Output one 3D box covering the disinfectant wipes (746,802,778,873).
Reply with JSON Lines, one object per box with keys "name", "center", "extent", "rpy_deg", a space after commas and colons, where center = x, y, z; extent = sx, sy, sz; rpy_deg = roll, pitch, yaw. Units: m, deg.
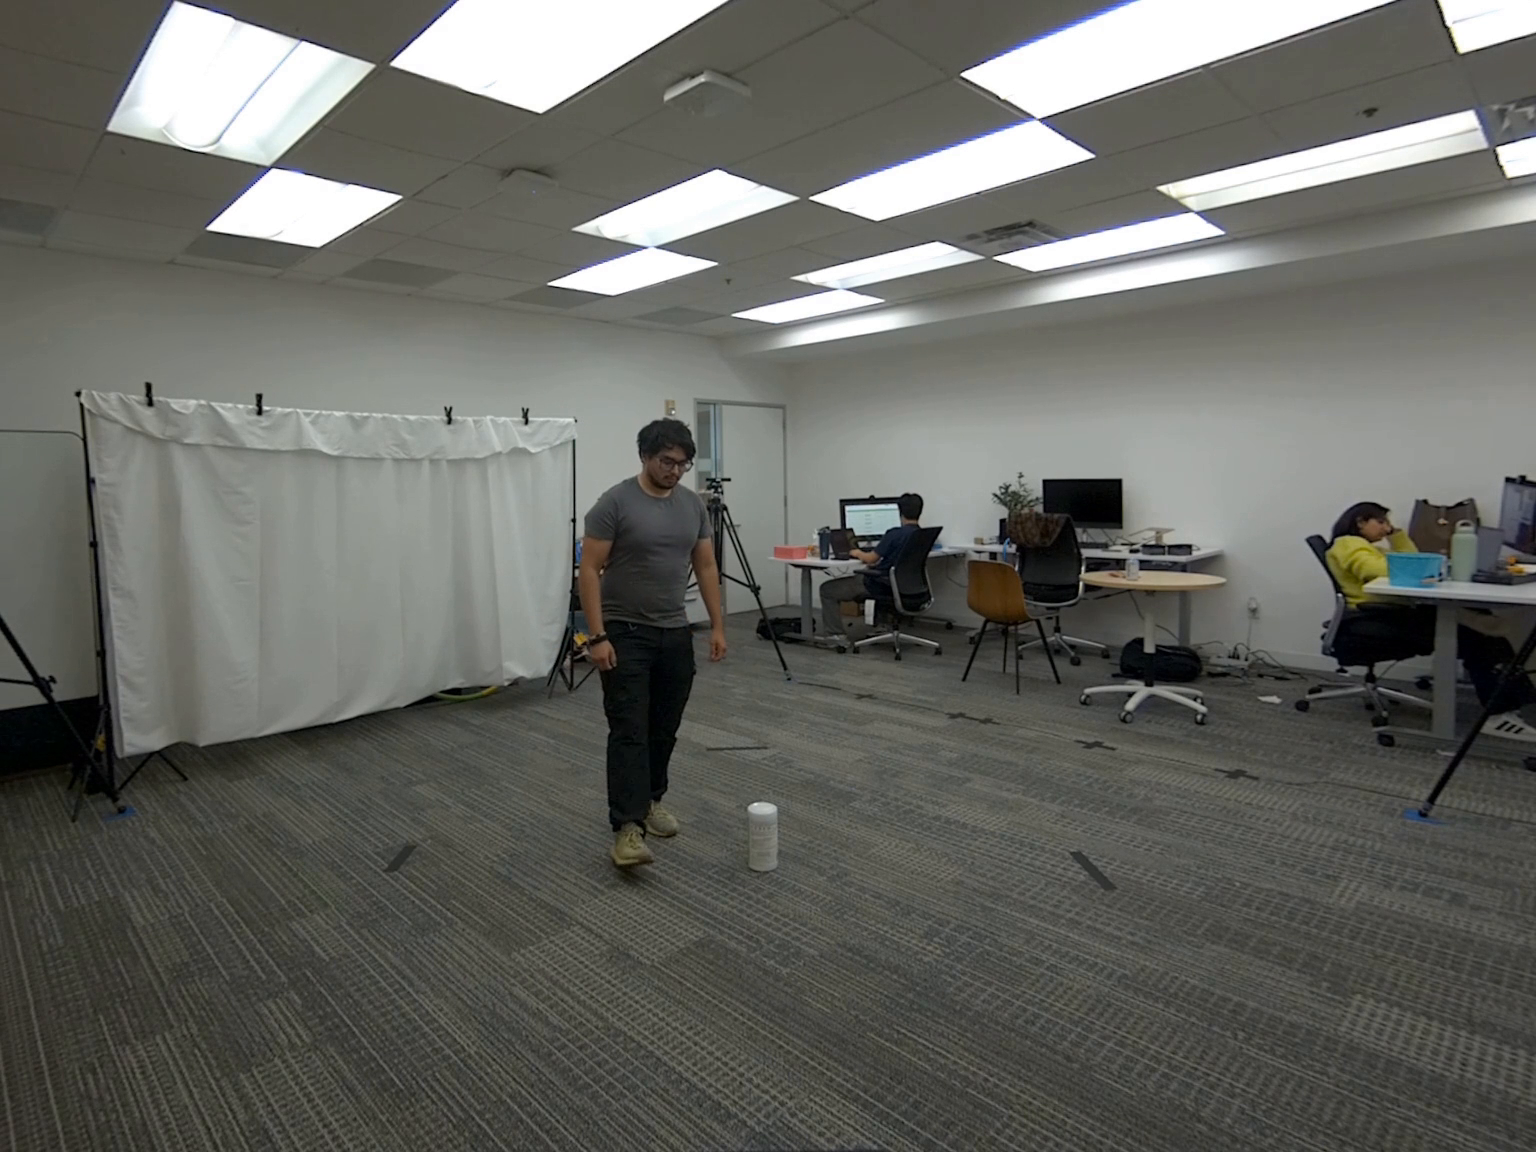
{"name": "disinfectant wipes", "center": [-0.012, 0.936, 3.070], "extent": [0.118, 0.217, 0.118], "rpy_deg": [0, 4, -2]}
